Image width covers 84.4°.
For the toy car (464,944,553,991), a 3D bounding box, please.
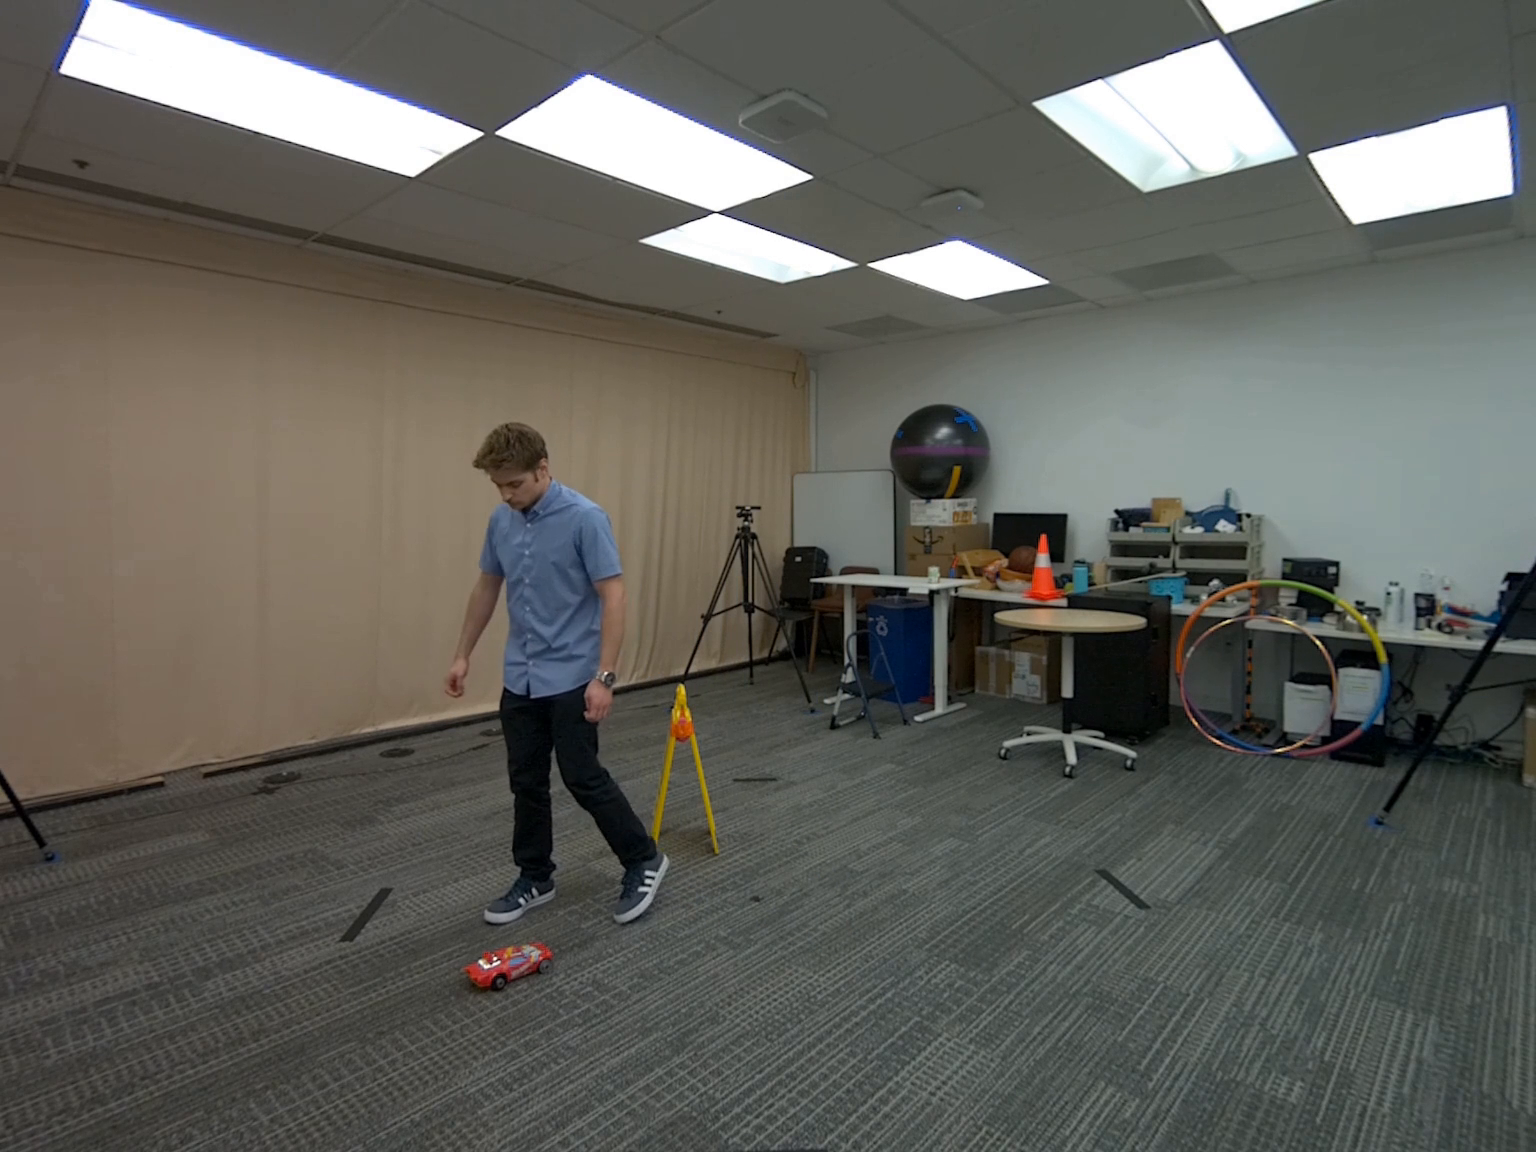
[{"bbox_3d":[-0.777,1.164,2.490,0.246,0.083,0.134,11,-5,-39],"label":"toy car"}]
